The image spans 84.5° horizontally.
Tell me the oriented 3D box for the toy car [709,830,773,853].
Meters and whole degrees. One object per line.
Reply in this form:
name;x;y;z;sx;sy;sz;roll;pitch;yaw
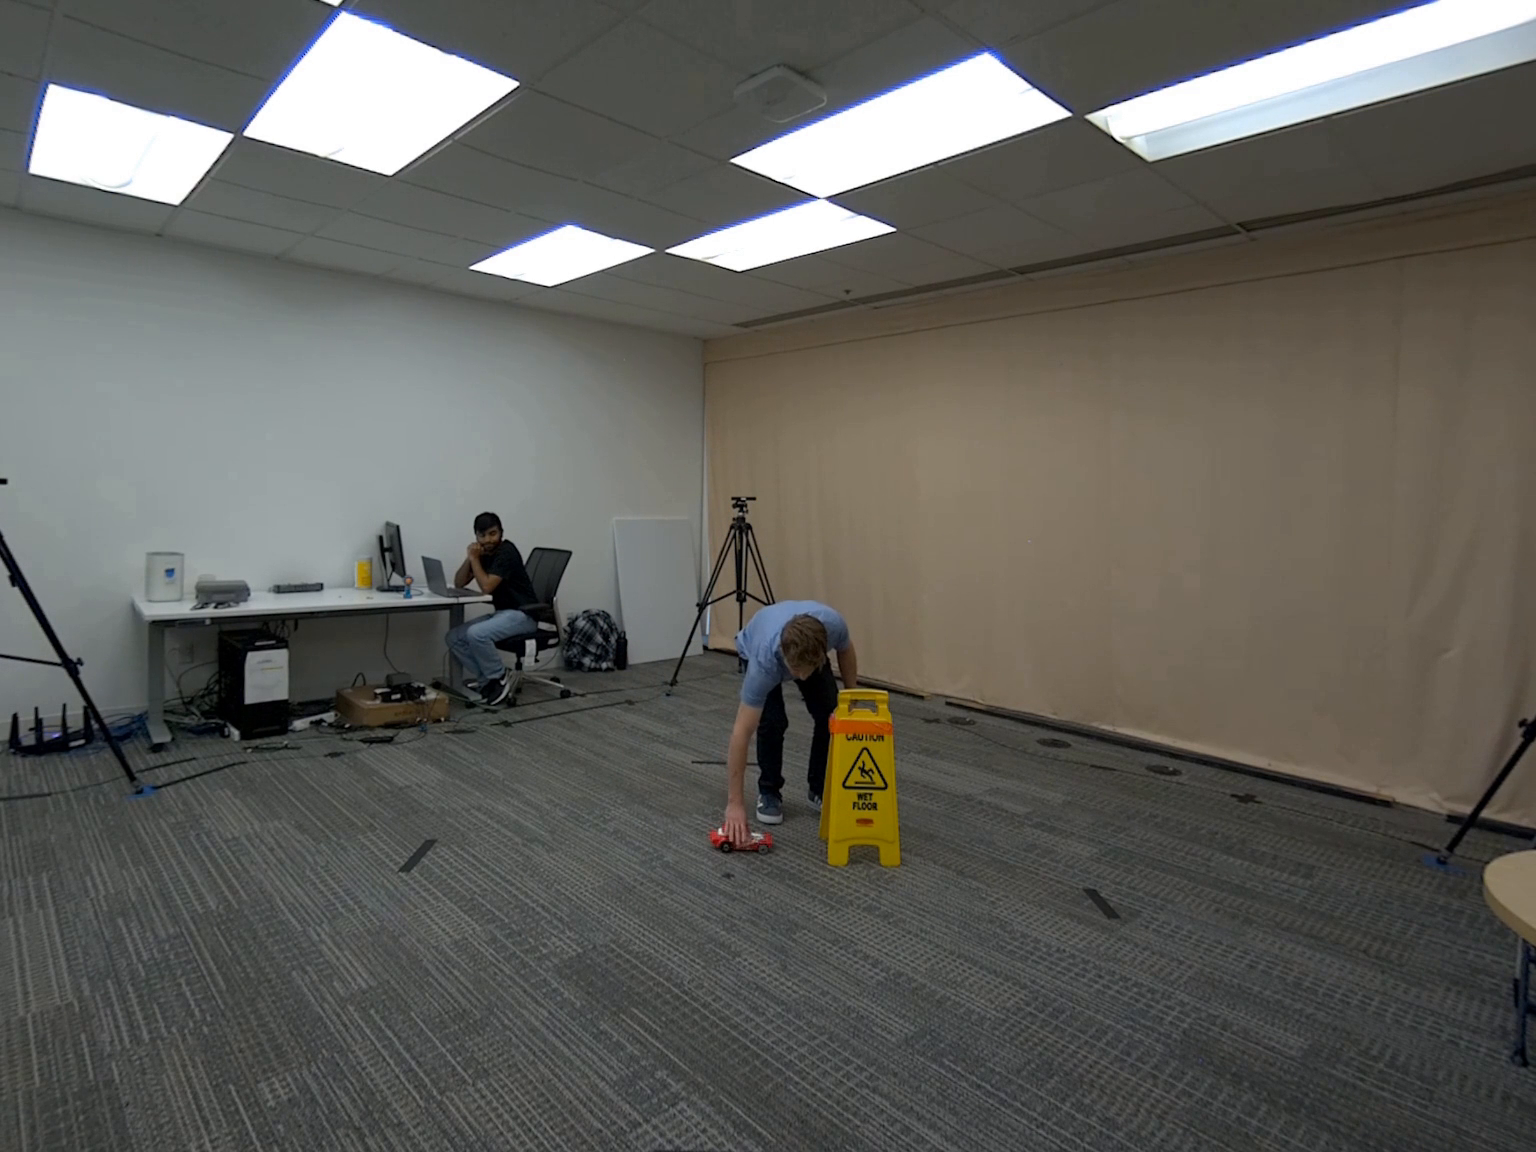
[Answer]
toy car;-0.121;1.049;3.360;0.255;0.083;0.130;14;3;0
